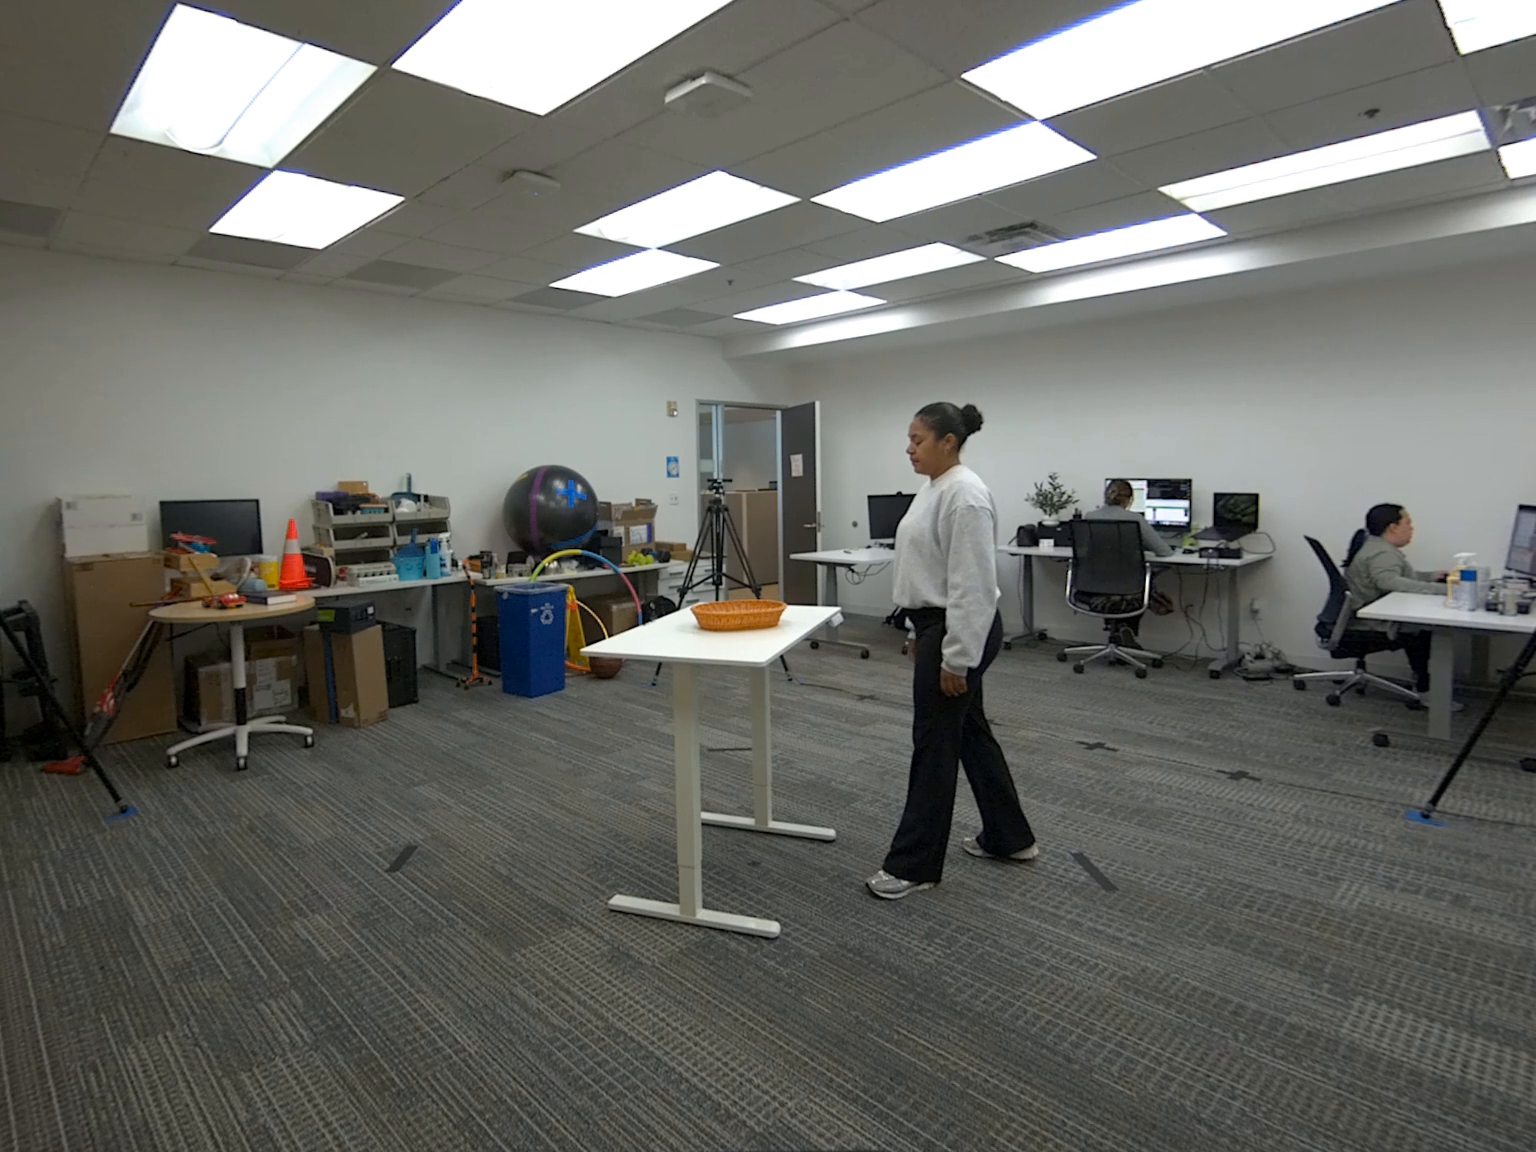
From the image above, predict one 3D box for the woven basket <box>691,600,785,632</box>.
[{"bbox_3d":[-0.089,0.144,3.001,0.345,0.073,0.257,-4,6,-19],"label":"woven basket"}]
